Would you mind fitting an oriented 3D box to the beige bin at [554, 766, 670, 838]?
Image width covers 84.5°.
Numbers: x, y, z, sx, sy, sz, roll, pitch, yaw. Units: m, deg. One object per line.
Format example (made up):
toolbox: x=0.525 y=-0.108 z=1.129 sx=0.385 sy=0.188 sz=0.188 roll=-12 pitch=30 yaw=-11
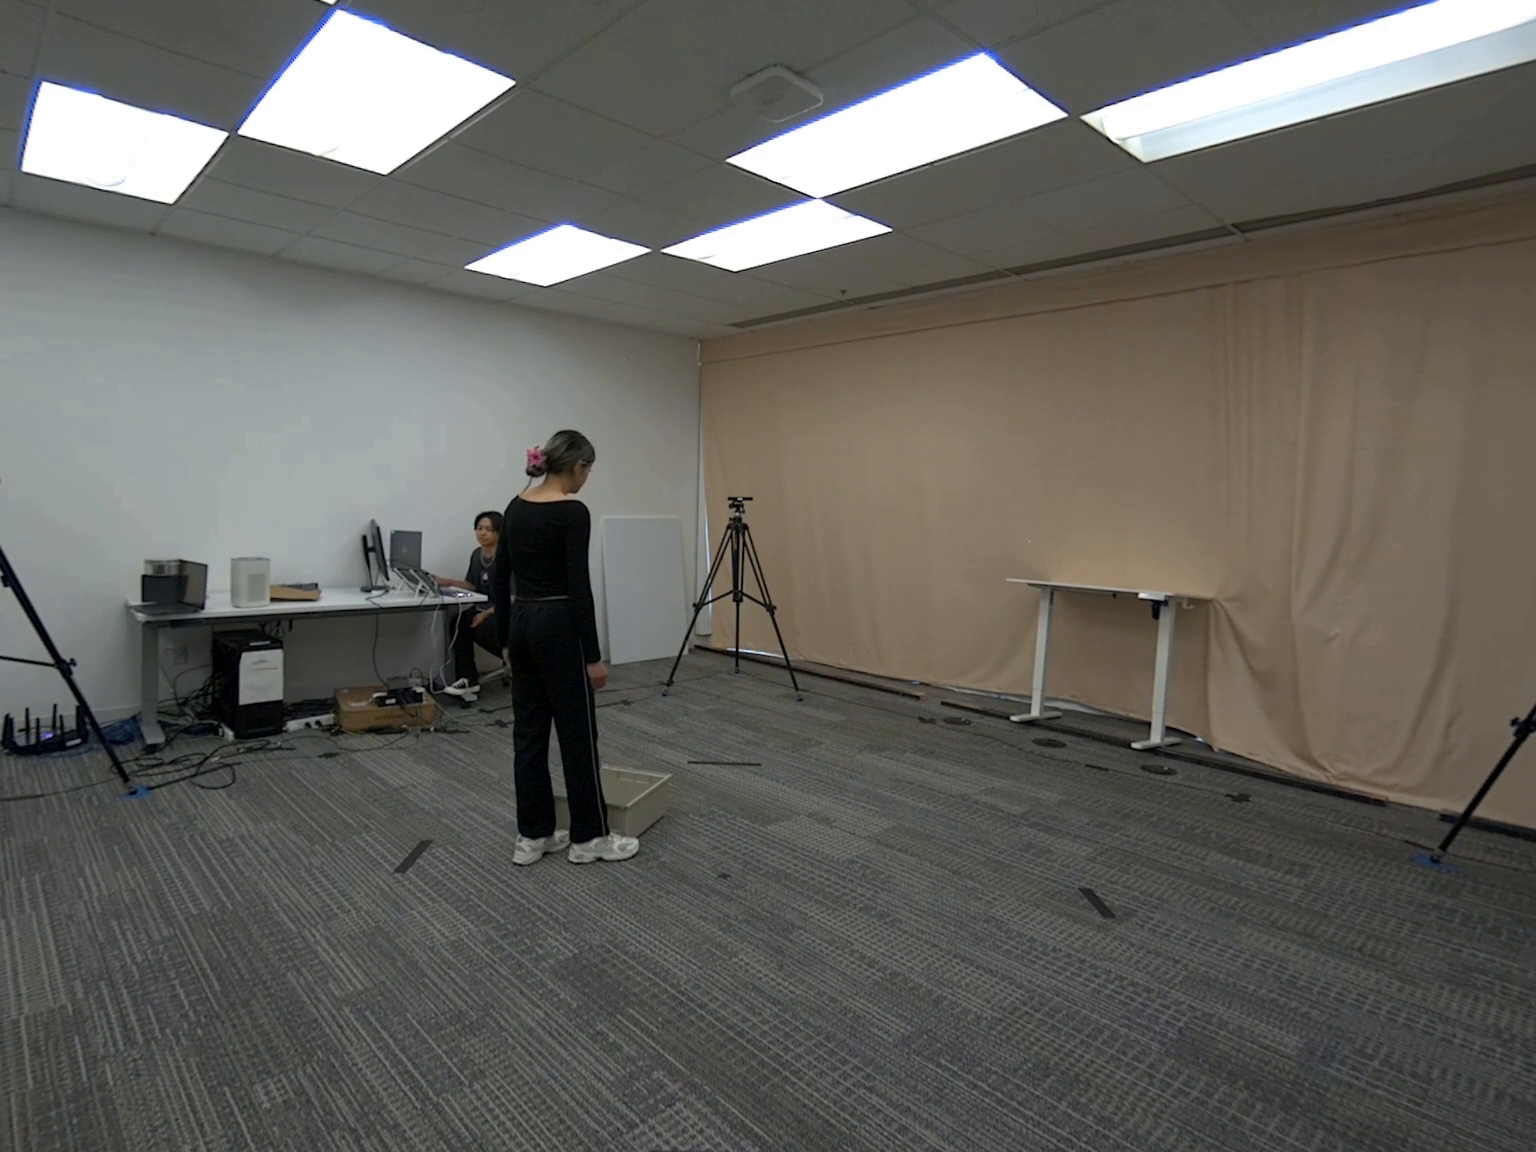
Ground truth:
beige bin: x=-0.675 y=0.963 z=3.554 sx=0.383 sy=0.188 sz=0.417 roll=4 pitch=5 yaw=19
